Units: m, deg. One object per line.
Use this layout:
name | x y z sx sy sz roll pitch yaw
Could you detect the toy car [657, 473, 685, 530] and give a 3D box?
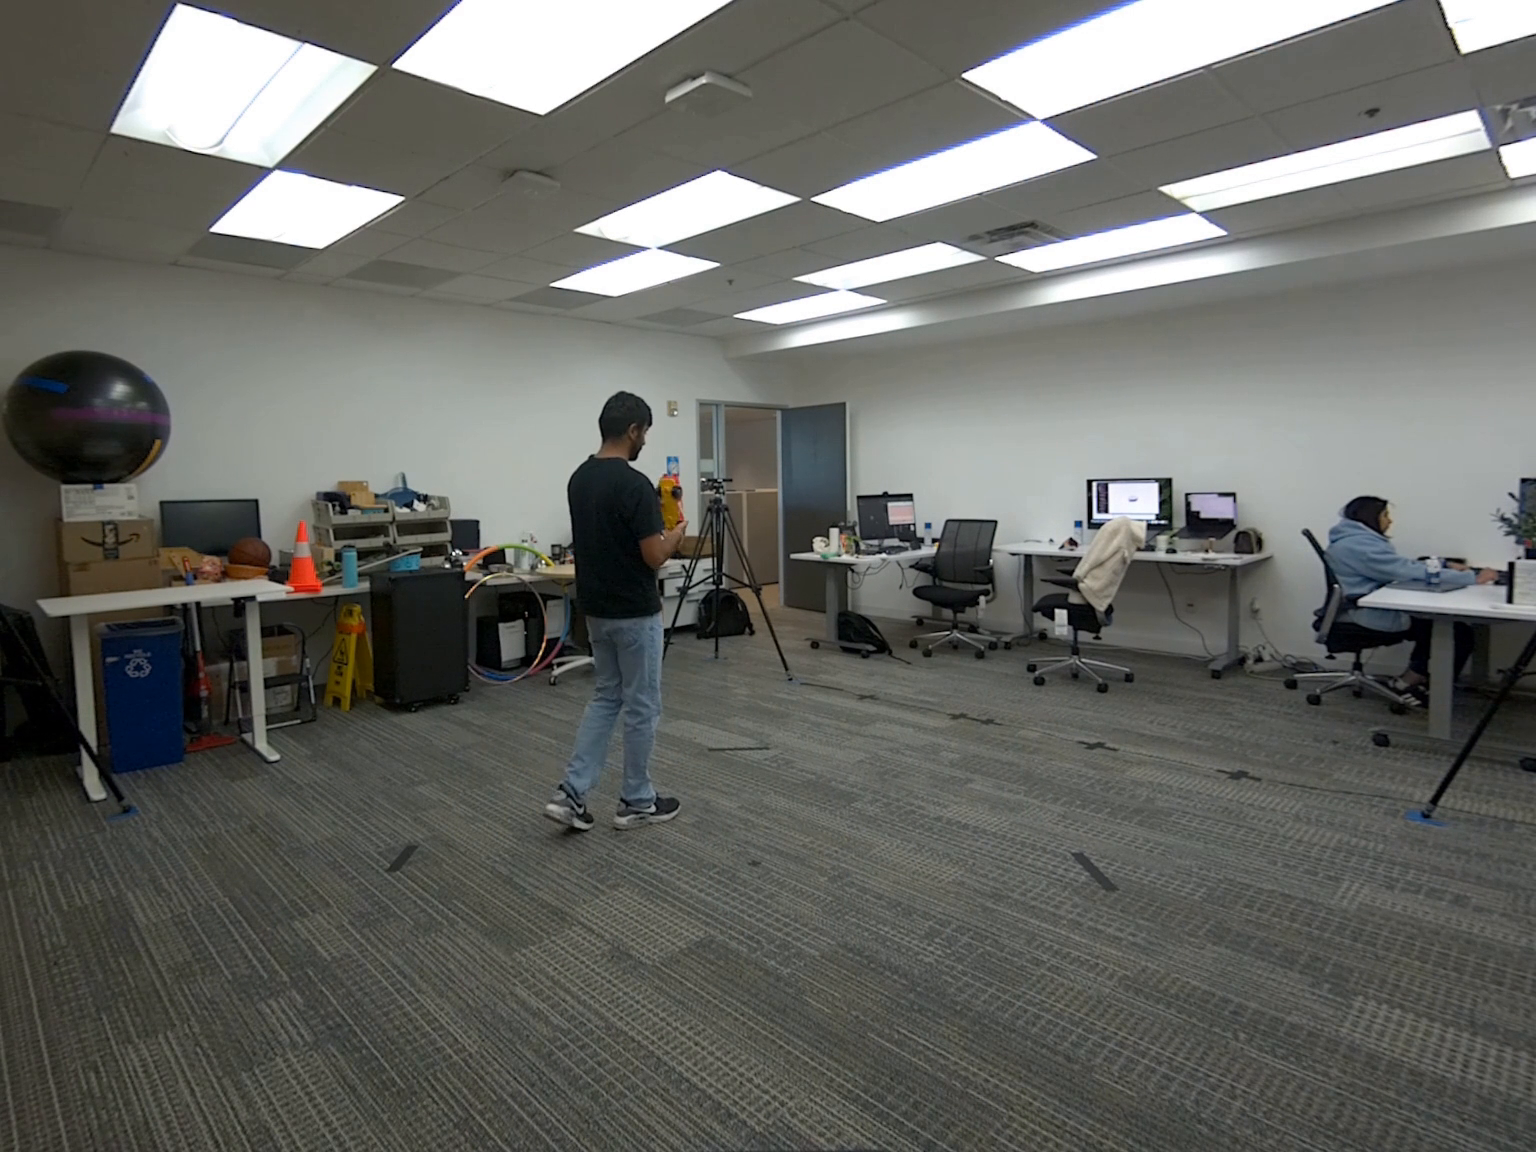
toy car | -0.414 -0.300 3.598 0.134 0.254 0.081 1 3 32
